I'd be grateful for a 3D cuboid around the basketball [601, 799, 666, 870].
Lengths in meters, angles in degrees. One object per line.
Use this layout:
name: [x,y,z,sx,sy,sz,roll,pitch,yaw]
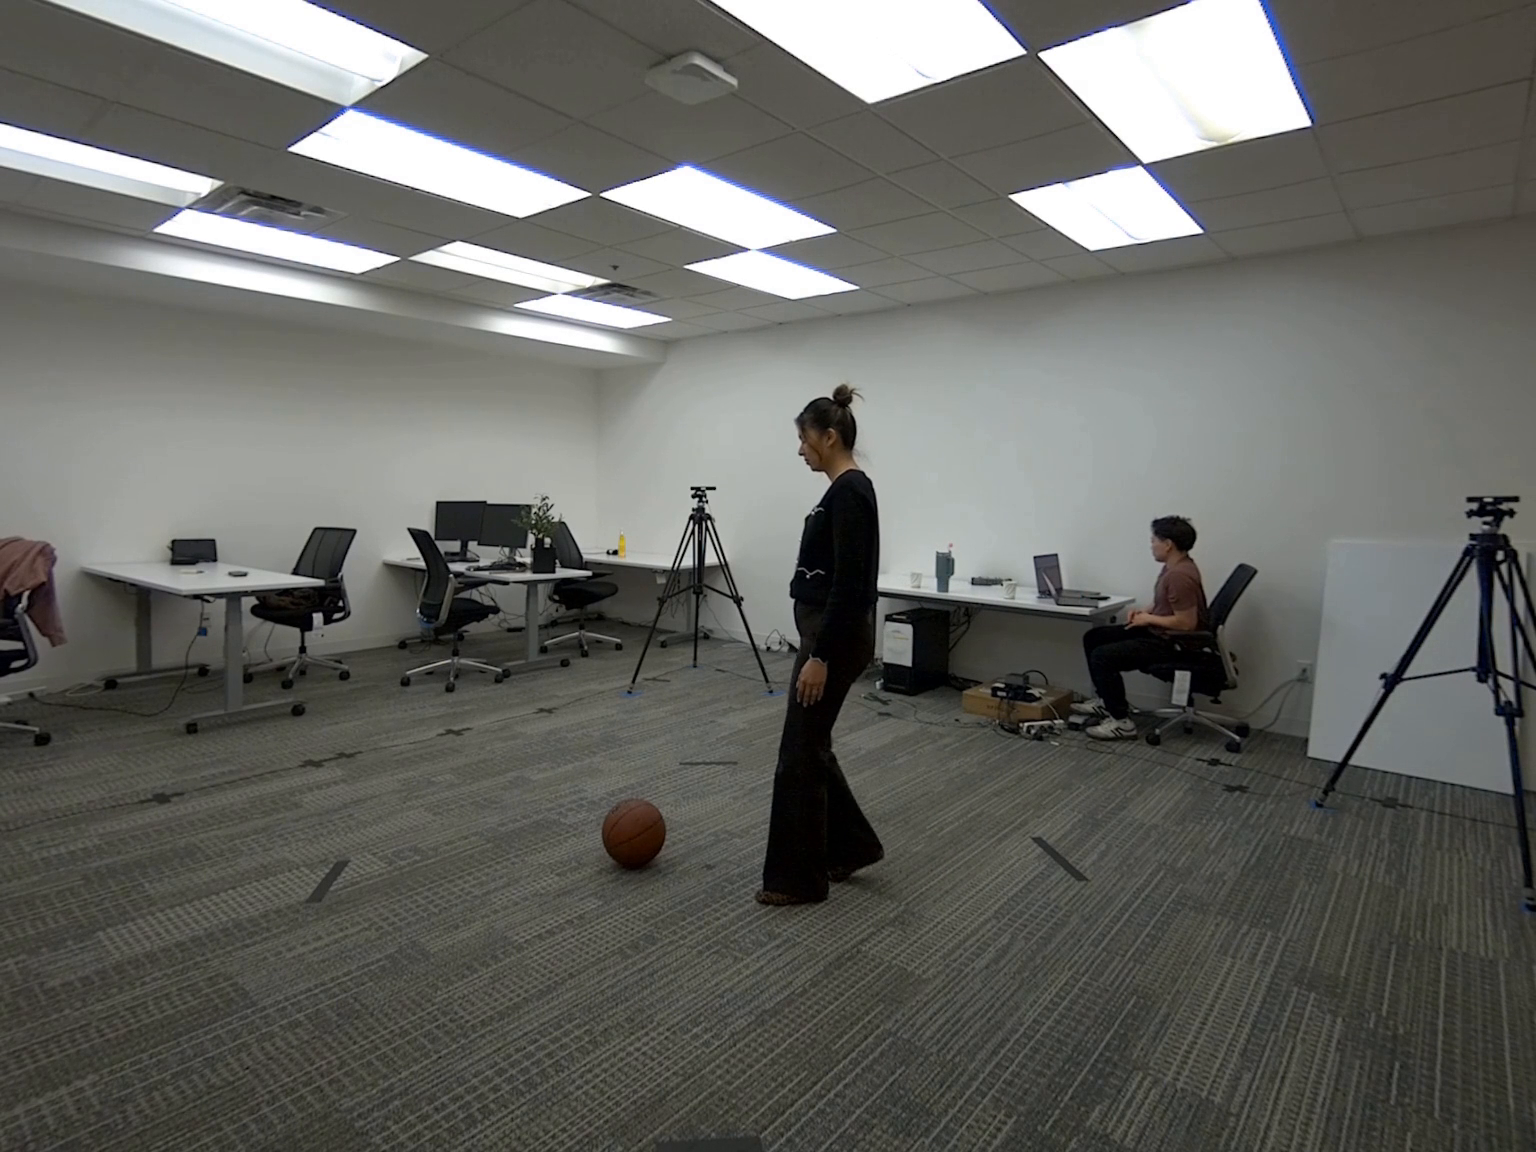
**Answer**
basketball: [-0.505,0.941,3.130,0.235,0.235,0.237,1,4,-2]
